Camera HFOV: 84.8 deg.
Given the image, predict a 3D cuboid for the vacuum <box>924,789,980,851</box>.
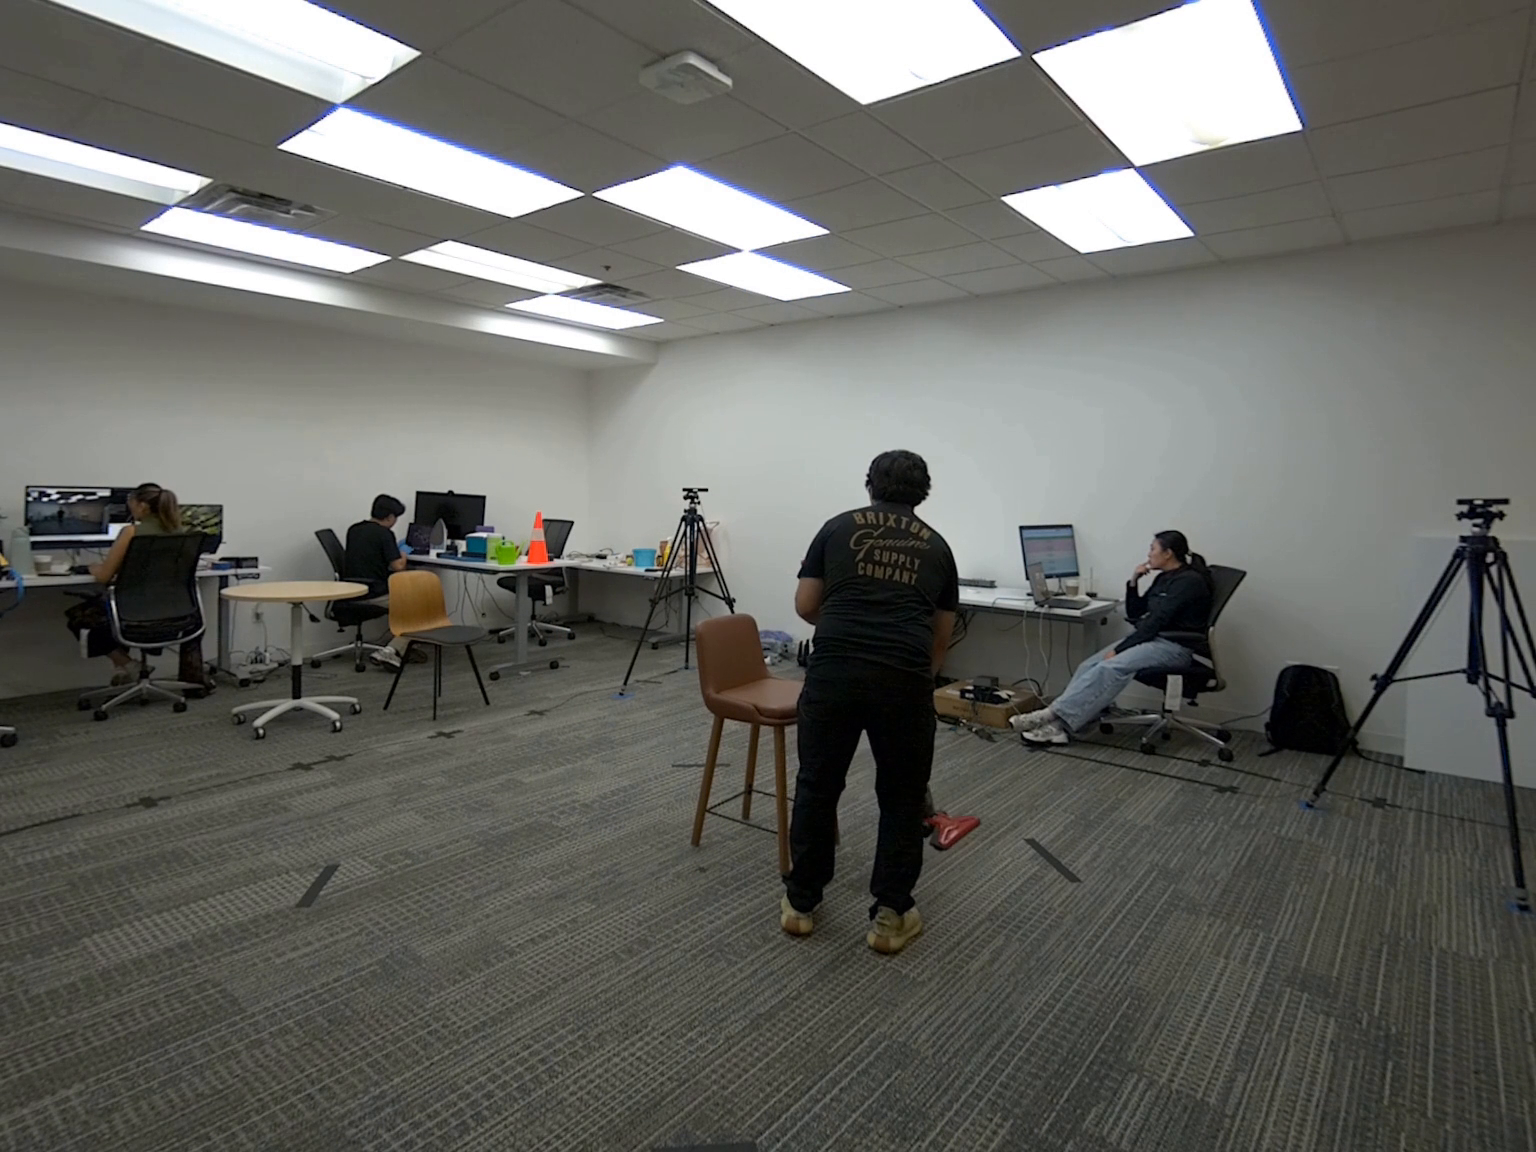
[{"bbox_3d":[0.369,0.405,3.037,0.246,1.071,0.145,-11,-22,-46],"label":"vacuum"}]
